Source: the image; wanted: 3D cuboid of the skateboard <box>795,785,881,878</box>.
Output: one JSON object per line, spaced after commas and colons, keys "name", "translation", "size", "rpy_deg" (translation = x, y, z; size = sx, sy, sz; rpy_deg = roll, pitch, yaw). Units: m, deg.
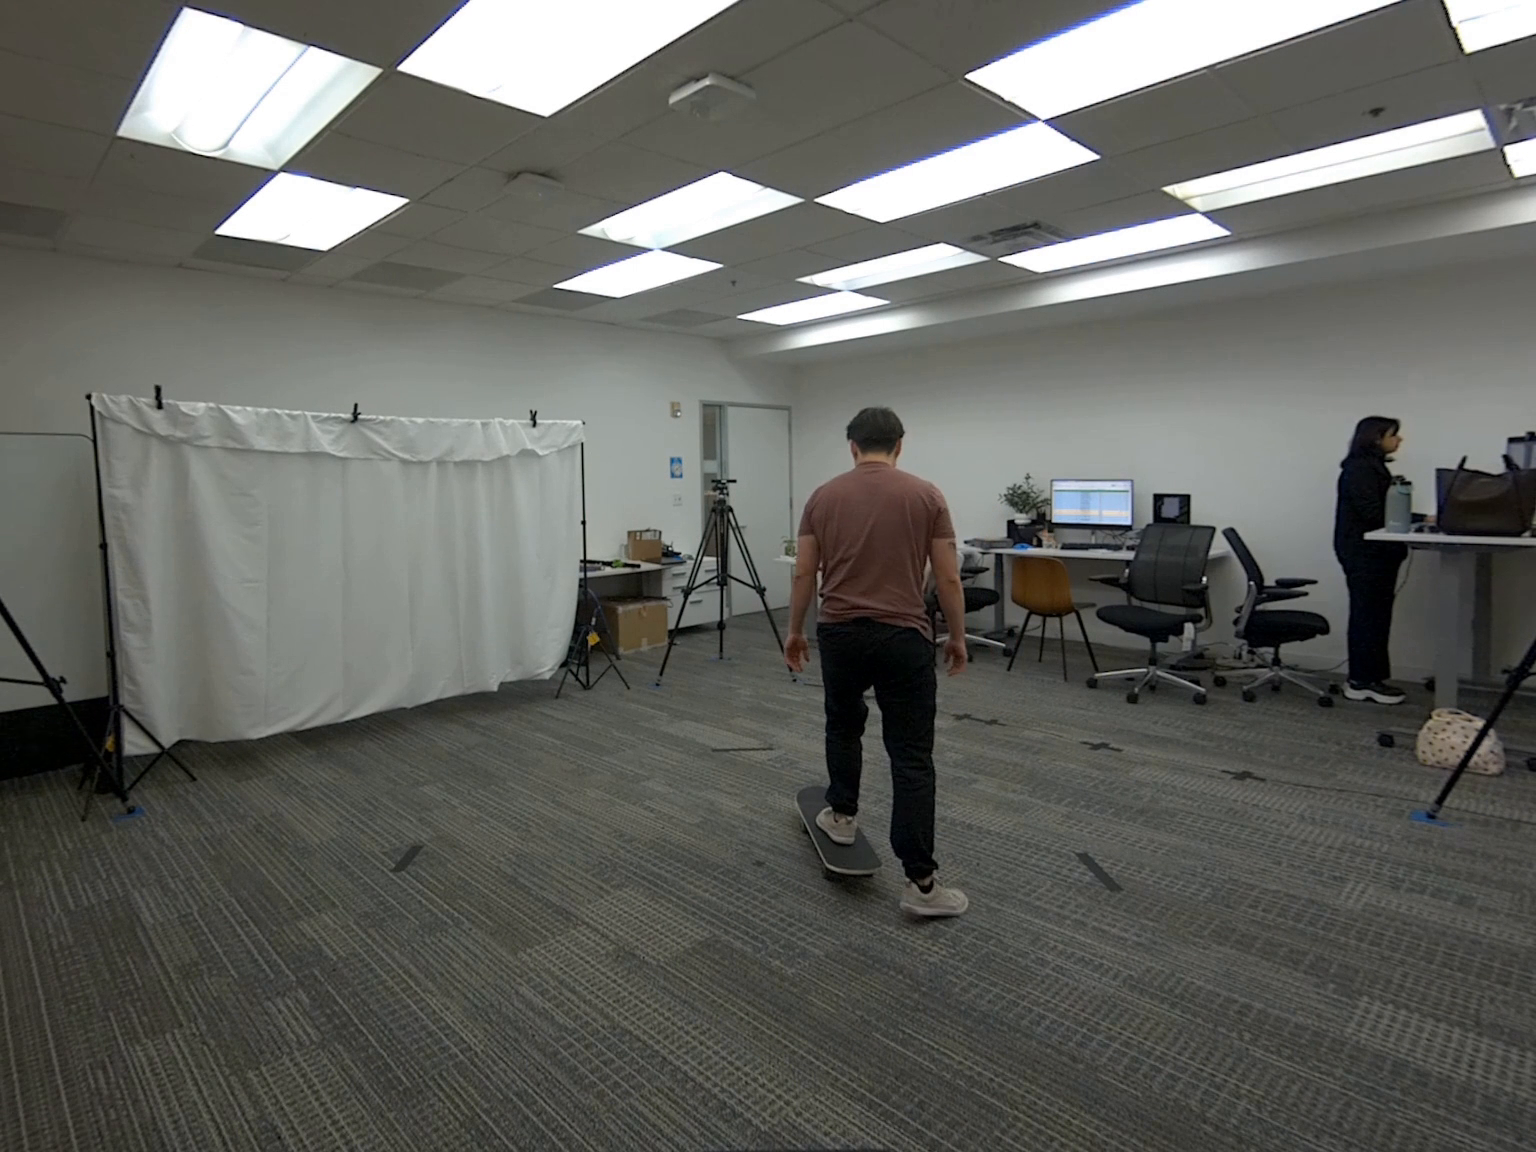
{"name": "skateboard", "translation": [0.254, 0.978, 3.191], "size": [0.192, 0.110, 0.793], "rpy_deg": [-1, 6, -7]}
